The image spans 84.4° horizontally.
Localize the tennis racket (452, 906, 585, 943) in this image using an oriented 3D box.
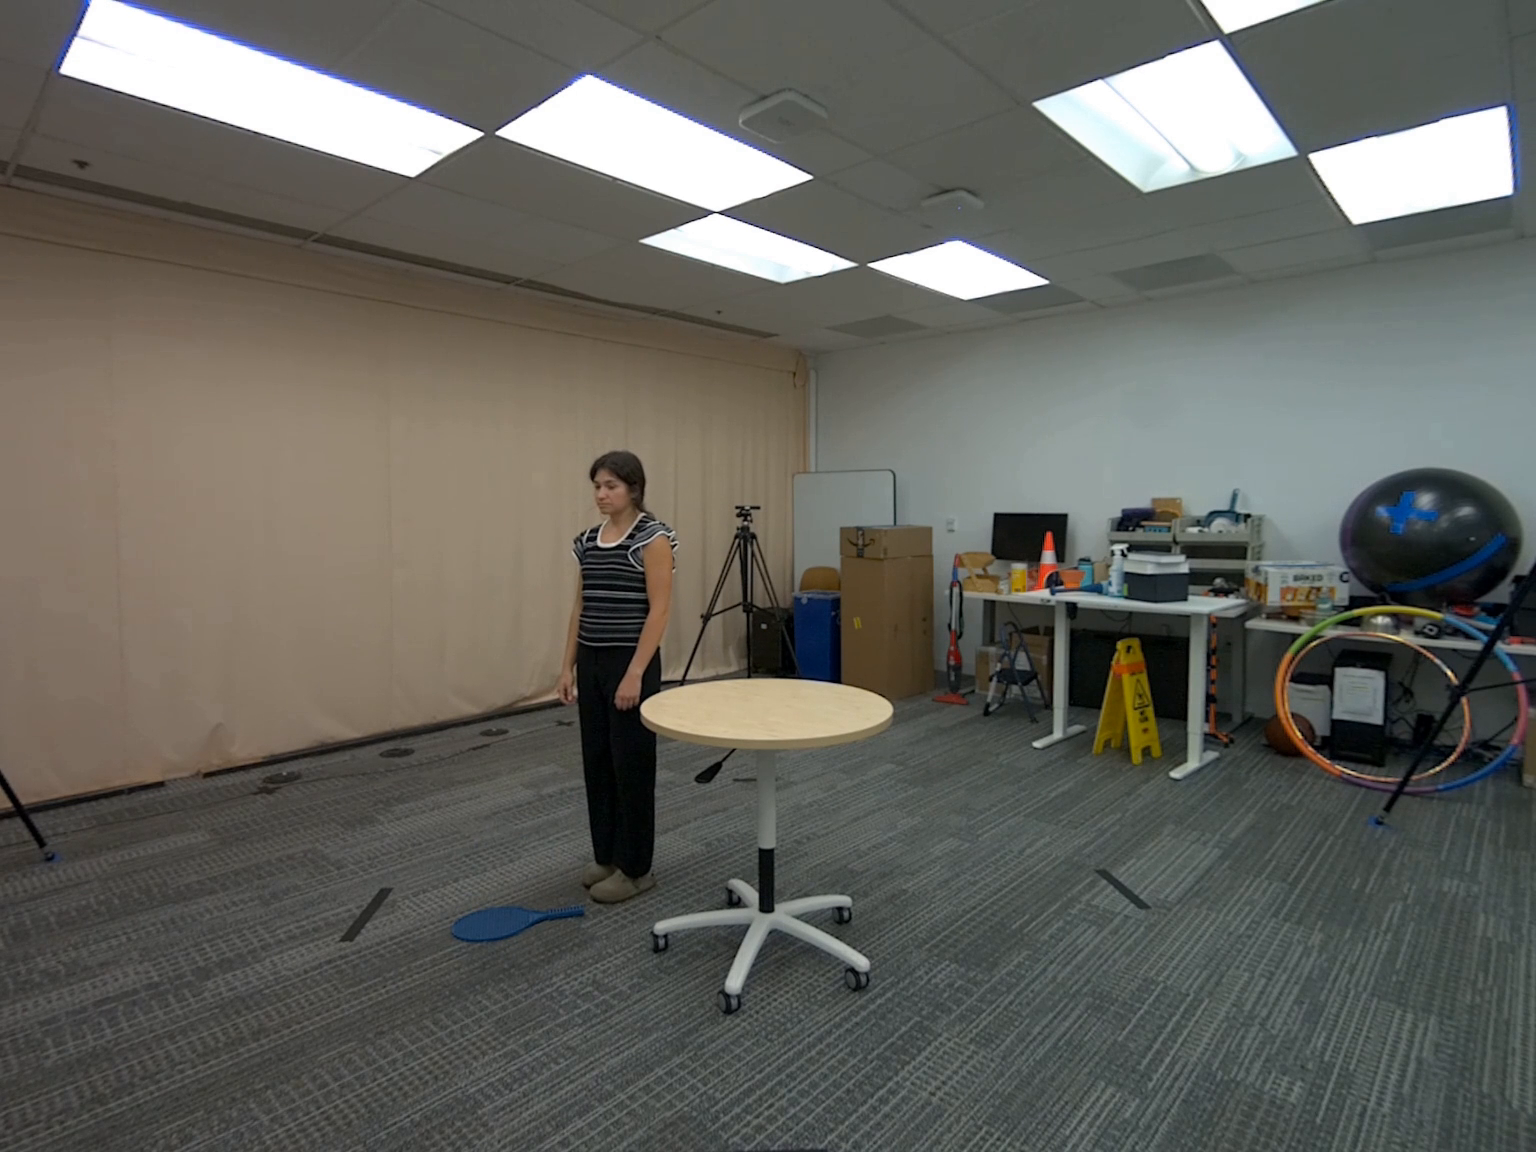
[{"bbox_3d":[-0.837,1.153,2.822,0.426,0.032,0.218,-3,5,-16],"label":"tennis racket"}]
